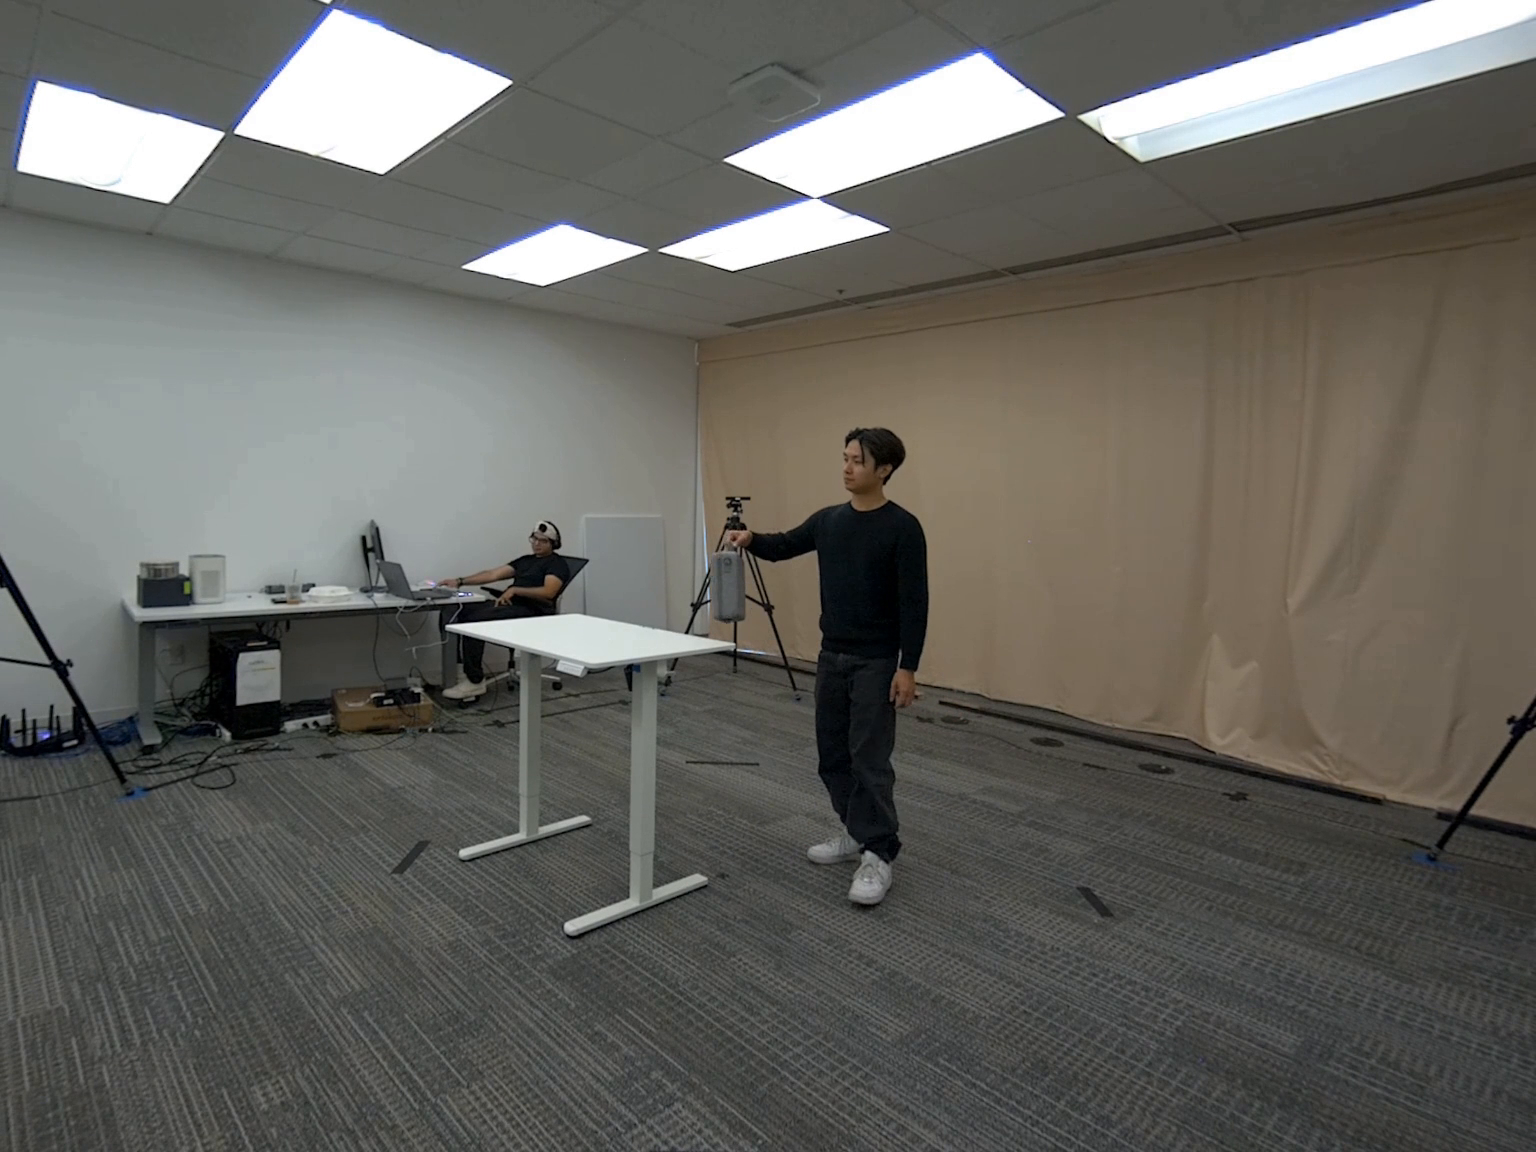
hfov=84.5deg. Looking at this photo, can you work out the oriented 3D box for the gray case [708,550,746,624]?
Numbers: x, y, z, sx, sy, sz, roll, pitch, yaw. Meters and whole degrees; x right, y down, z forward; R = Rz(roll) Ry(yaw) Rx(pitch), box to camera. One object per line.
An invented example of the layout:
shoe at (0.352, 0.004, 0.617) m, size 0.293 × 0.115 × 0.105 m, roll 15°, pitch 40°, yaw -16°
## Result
gray case at (-0.149, 0.041, 3.176) m, size 0.105 × 0.261 × 0.255 m, roll -3°, pitch -2°, yaw 4°
